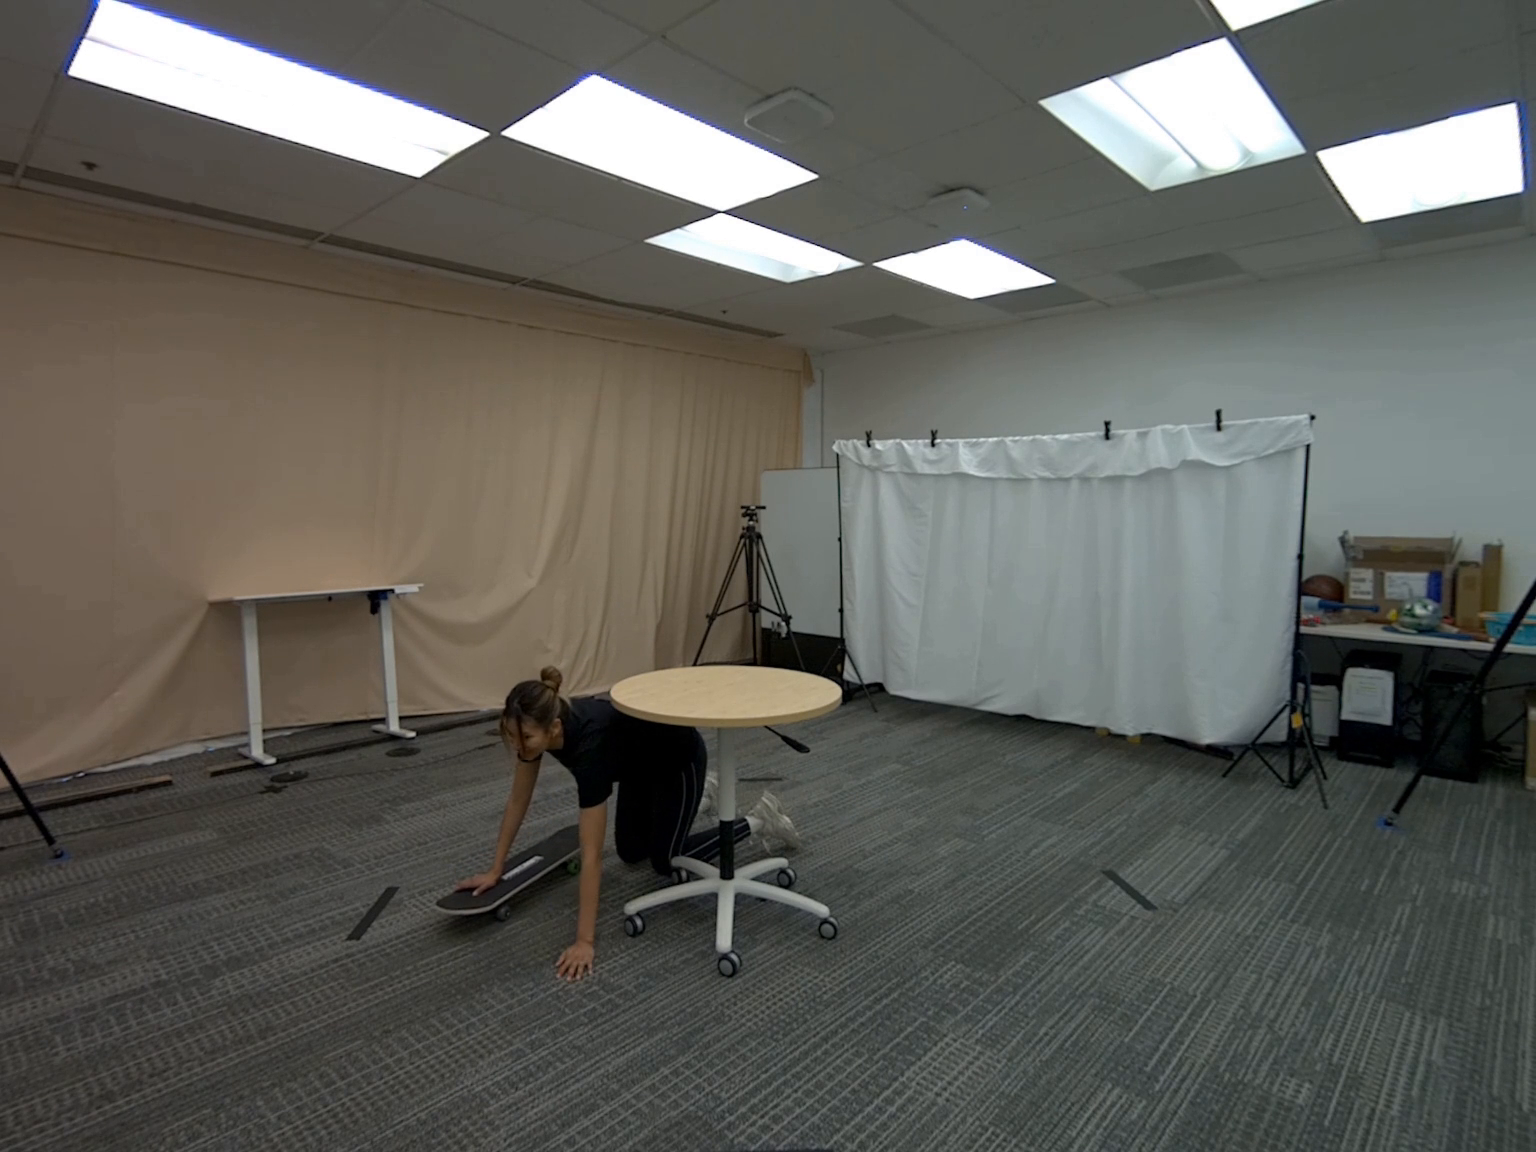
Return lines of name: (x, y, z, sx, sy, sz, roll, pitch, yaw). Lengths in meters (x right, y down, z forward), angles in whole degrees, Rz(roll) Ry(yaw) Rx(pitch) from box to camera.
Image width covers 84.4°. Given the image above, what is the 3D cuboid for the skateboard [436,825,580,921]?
skateboard: (-0.891, 1.092, 3.050, 0.198, 0.110, 0.767, -1, 4, 24)
